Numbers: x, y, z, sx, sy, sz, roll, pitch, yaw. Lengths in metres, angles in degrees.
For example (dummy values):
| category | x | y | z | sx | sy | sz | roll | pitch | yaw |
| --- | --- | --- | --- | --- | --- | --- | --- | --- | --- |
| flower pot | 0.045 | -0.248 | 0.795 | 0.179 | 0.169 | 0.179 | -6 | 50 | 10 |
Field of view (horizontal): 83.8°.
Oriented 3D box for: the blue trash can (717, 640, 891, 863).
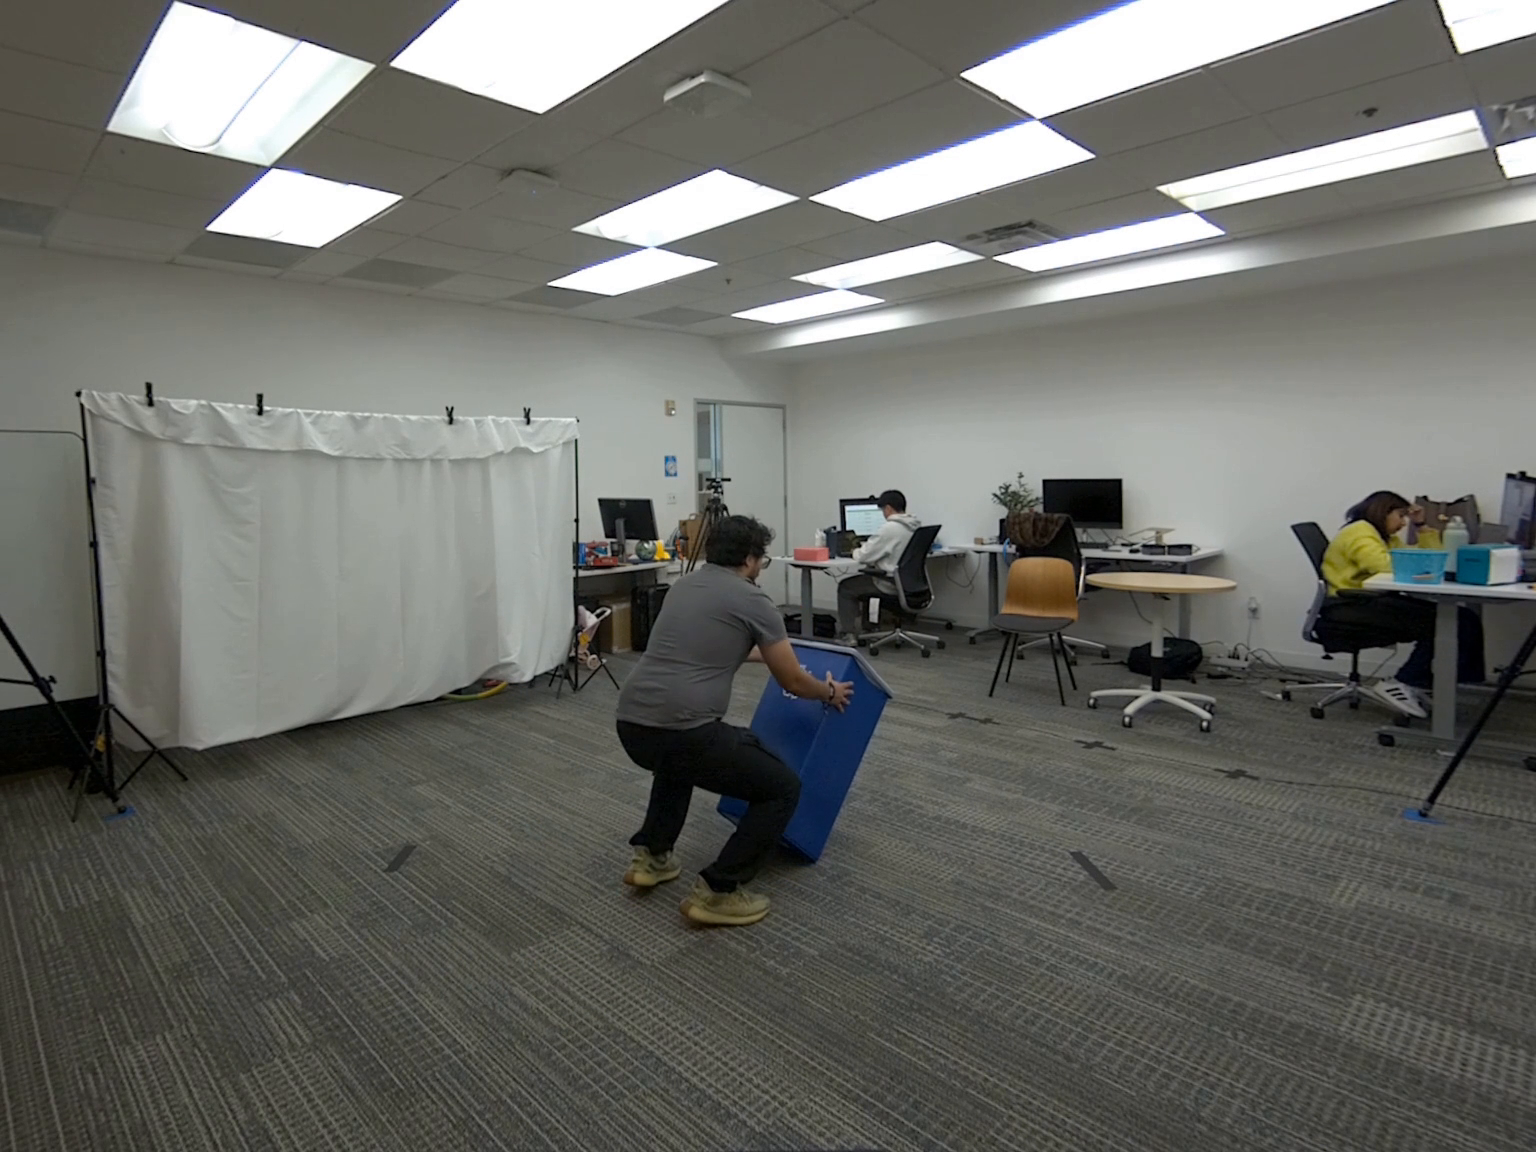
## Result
| category | x | y | z | sx | sy | sz | roll | pitch | yaw |
| --- | --- | --- | --- | --- | --- | --- | --- | --- | --- |
| blue trash can | 0.146 | 0.654 | 3.251 | 0.385 | 0.719 | 0.363 | 3 | -32 | 41 |
